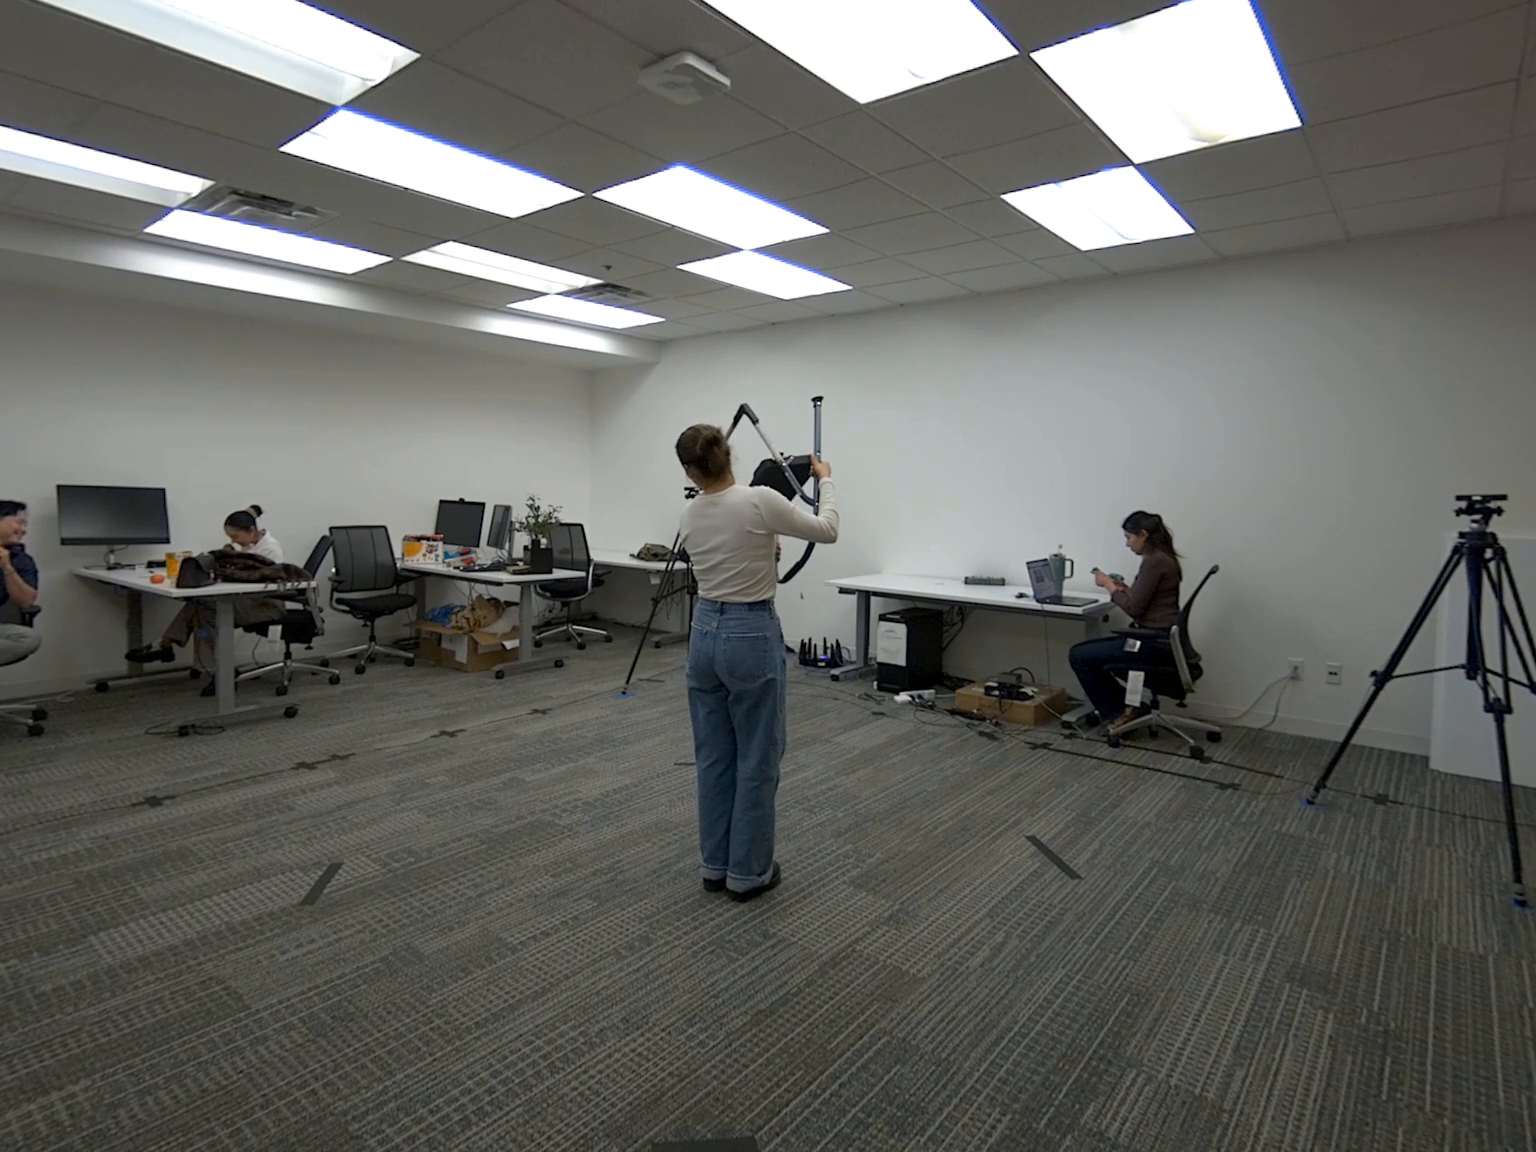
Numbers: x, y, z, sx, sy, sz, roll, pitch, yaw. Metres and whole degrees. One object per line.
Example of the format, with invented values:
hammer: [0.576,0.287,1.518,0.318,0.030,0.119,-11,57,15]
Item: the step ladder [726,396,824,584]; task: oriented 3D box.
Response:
step ladder: [0.064,-0.294,3.190,0.342,0.622,0.429,-8,-23,-26]
